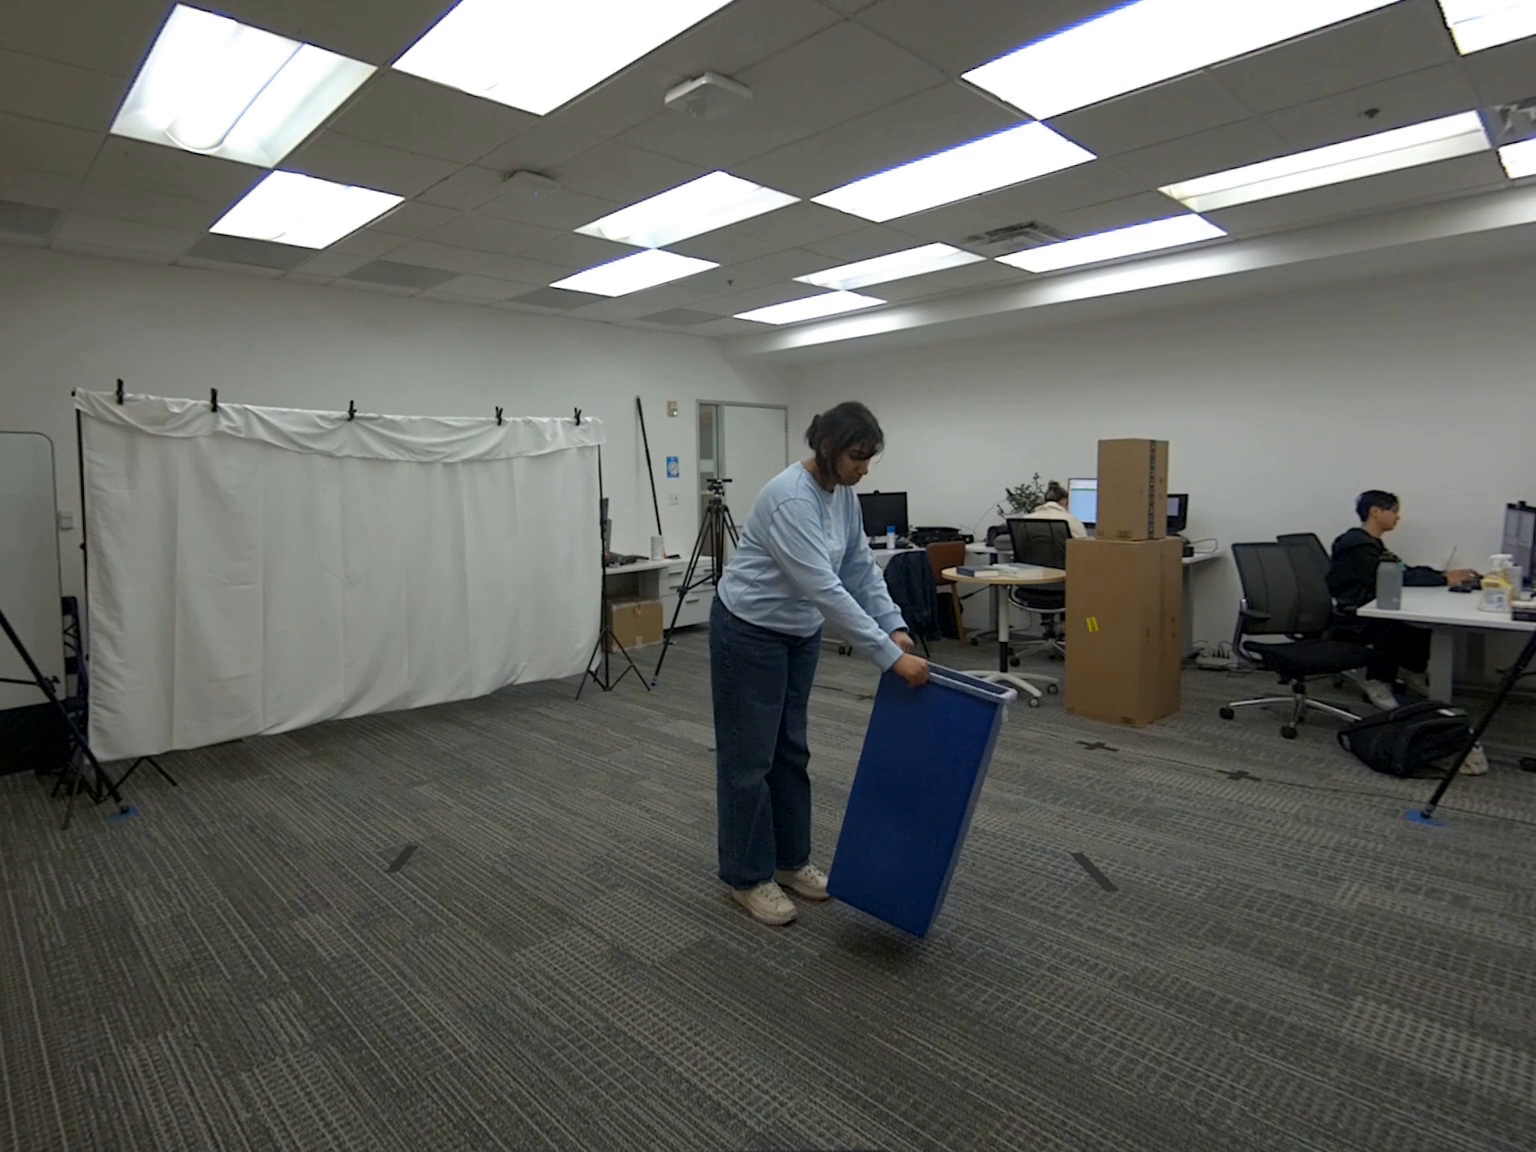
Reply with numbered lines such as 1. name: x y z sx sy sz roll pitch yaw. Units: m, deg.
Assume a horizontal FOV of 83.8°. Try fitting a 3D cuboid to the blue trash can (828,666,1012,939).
1. blue trash can: 0.454 0.635 2.554 0.384 0.713 0.368 15 0 23
